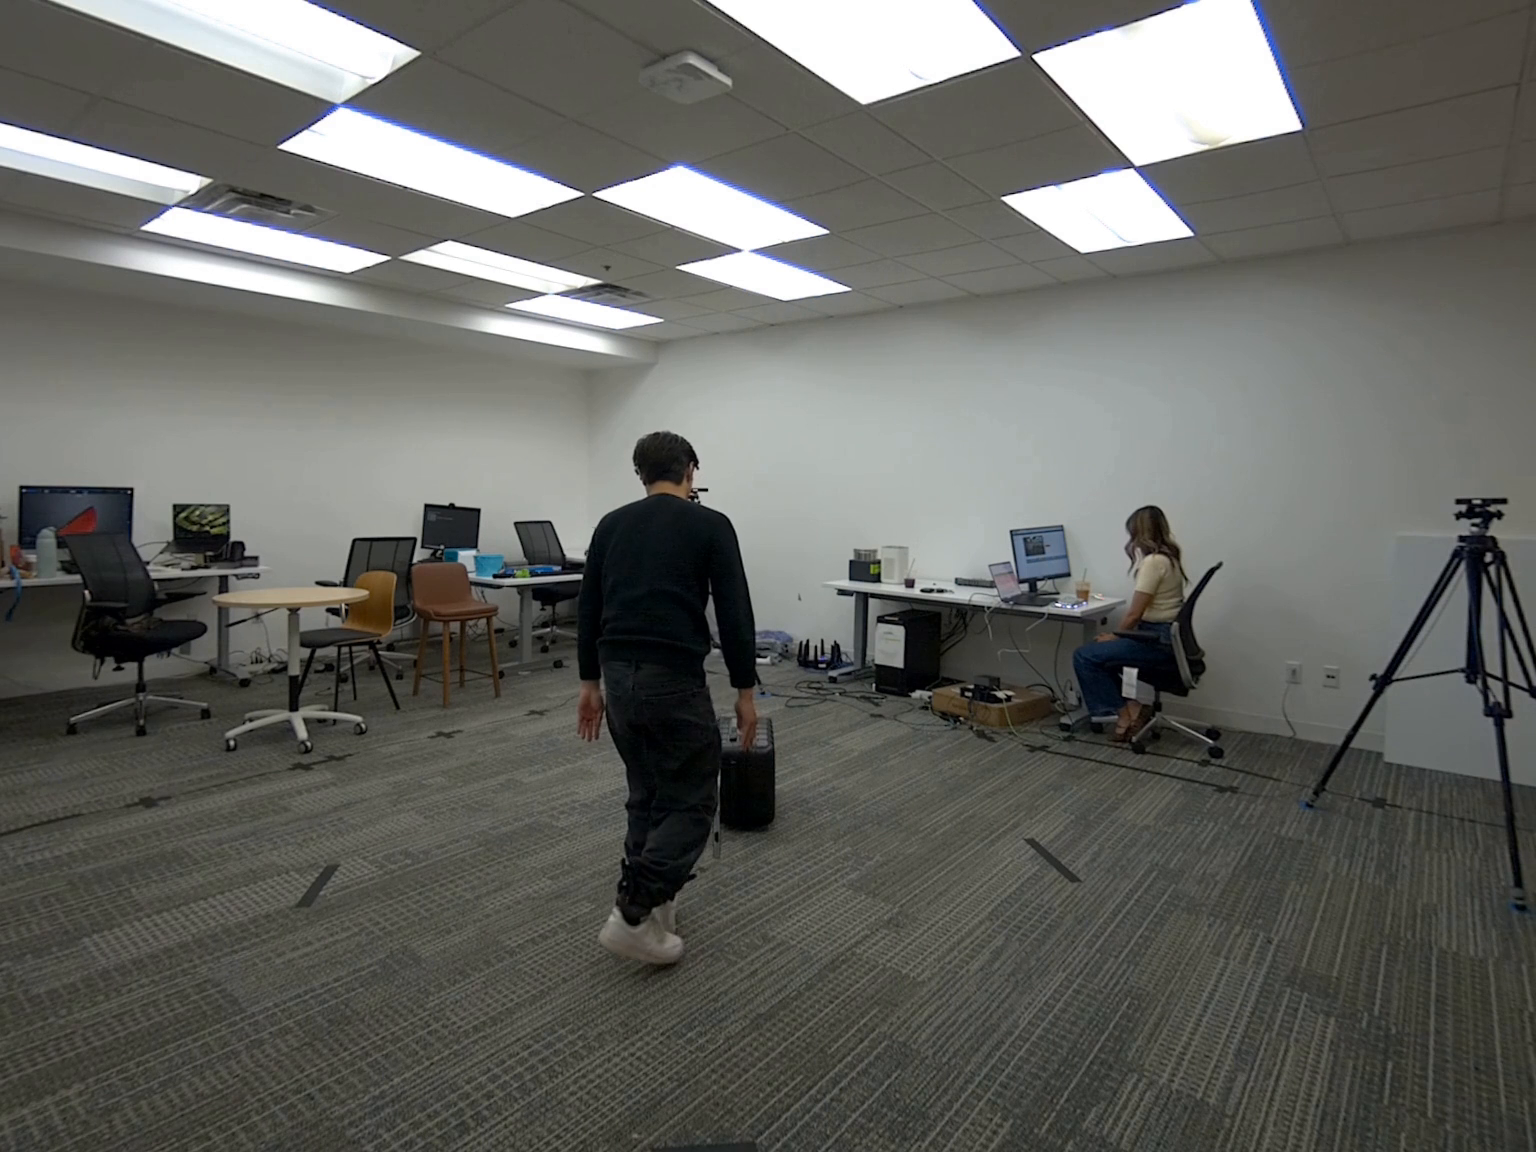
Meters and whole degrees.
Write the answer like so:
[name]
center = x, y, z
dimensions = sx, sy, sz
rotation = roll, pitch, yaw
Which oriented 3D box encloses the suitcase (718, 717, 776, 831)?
[suitcase]
center = -0.095, 0.848, 3.481
dimensions = 0.256, 0.383, 0.984
rotation = 0, 5, -3
